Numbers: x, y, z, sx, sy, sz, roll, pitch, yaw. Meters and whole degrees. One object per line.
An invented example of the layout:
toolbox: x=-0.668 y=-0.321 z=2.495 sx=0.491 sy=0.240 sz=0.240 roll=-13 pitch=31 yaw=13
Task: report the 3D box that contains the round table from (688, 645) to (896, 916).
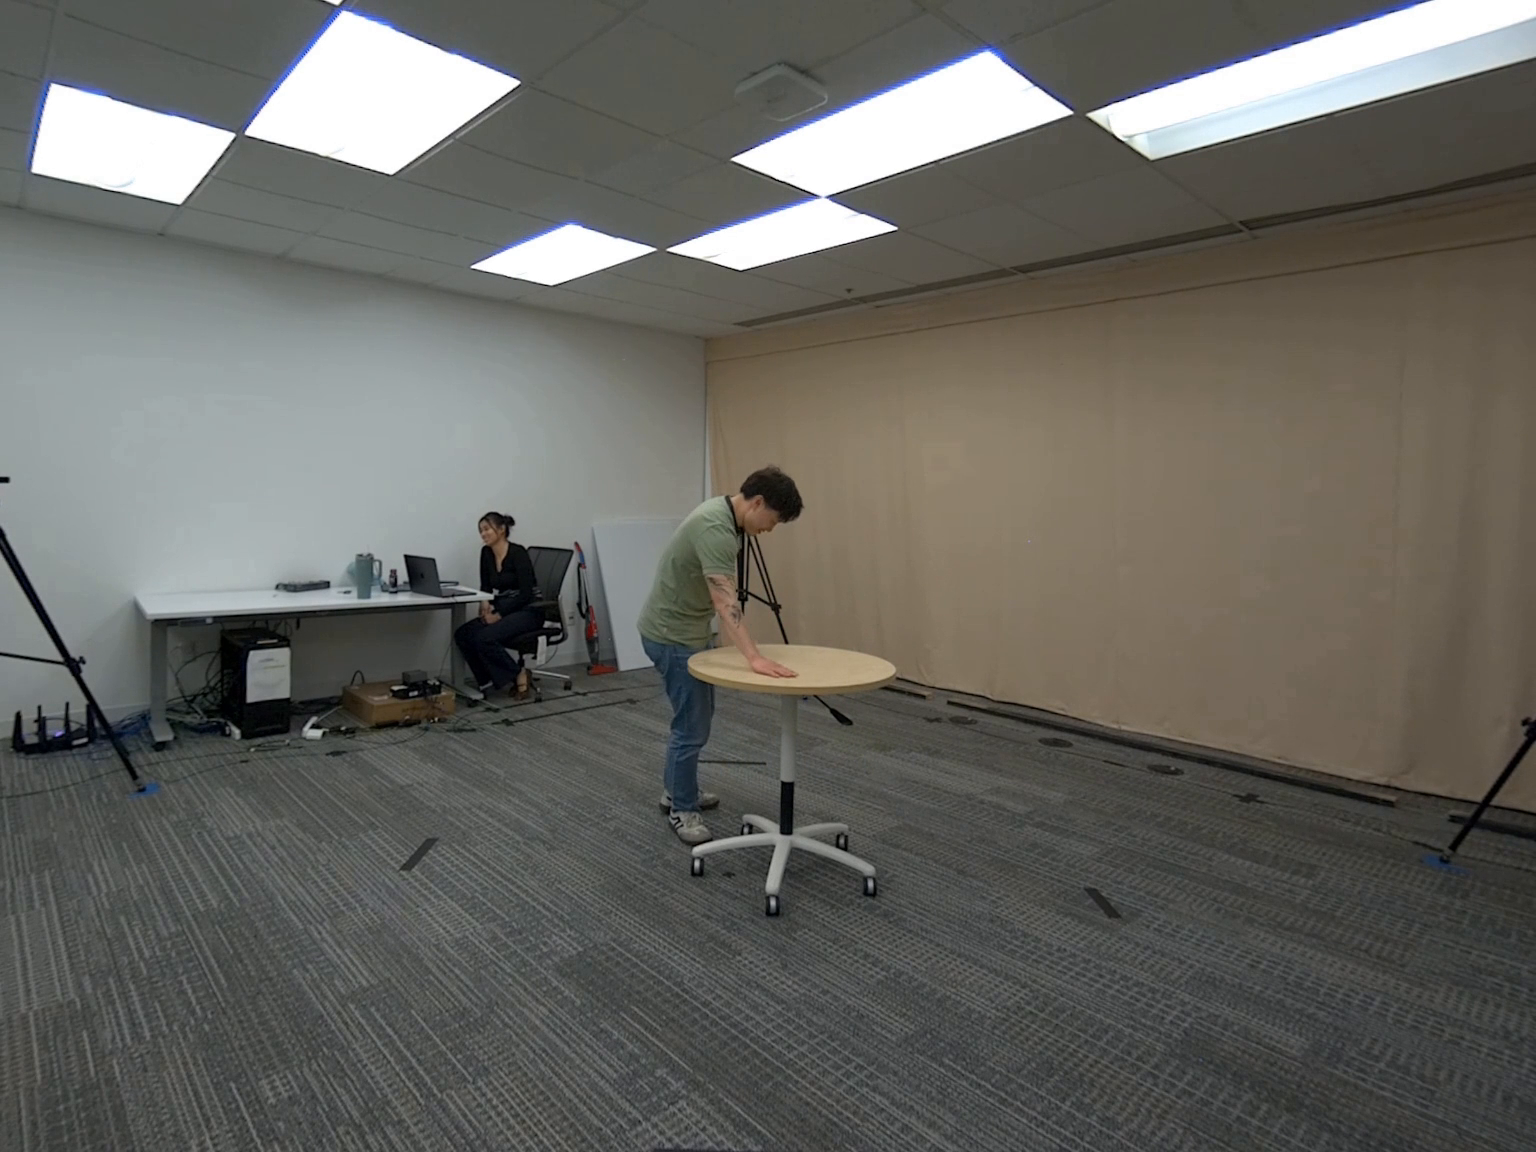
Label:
round table: x=0.069 y=0.716 z=3.132 sx=0.763 sy=0.792 sz=0.766 roll=1 pitch=4 yaw=-1
